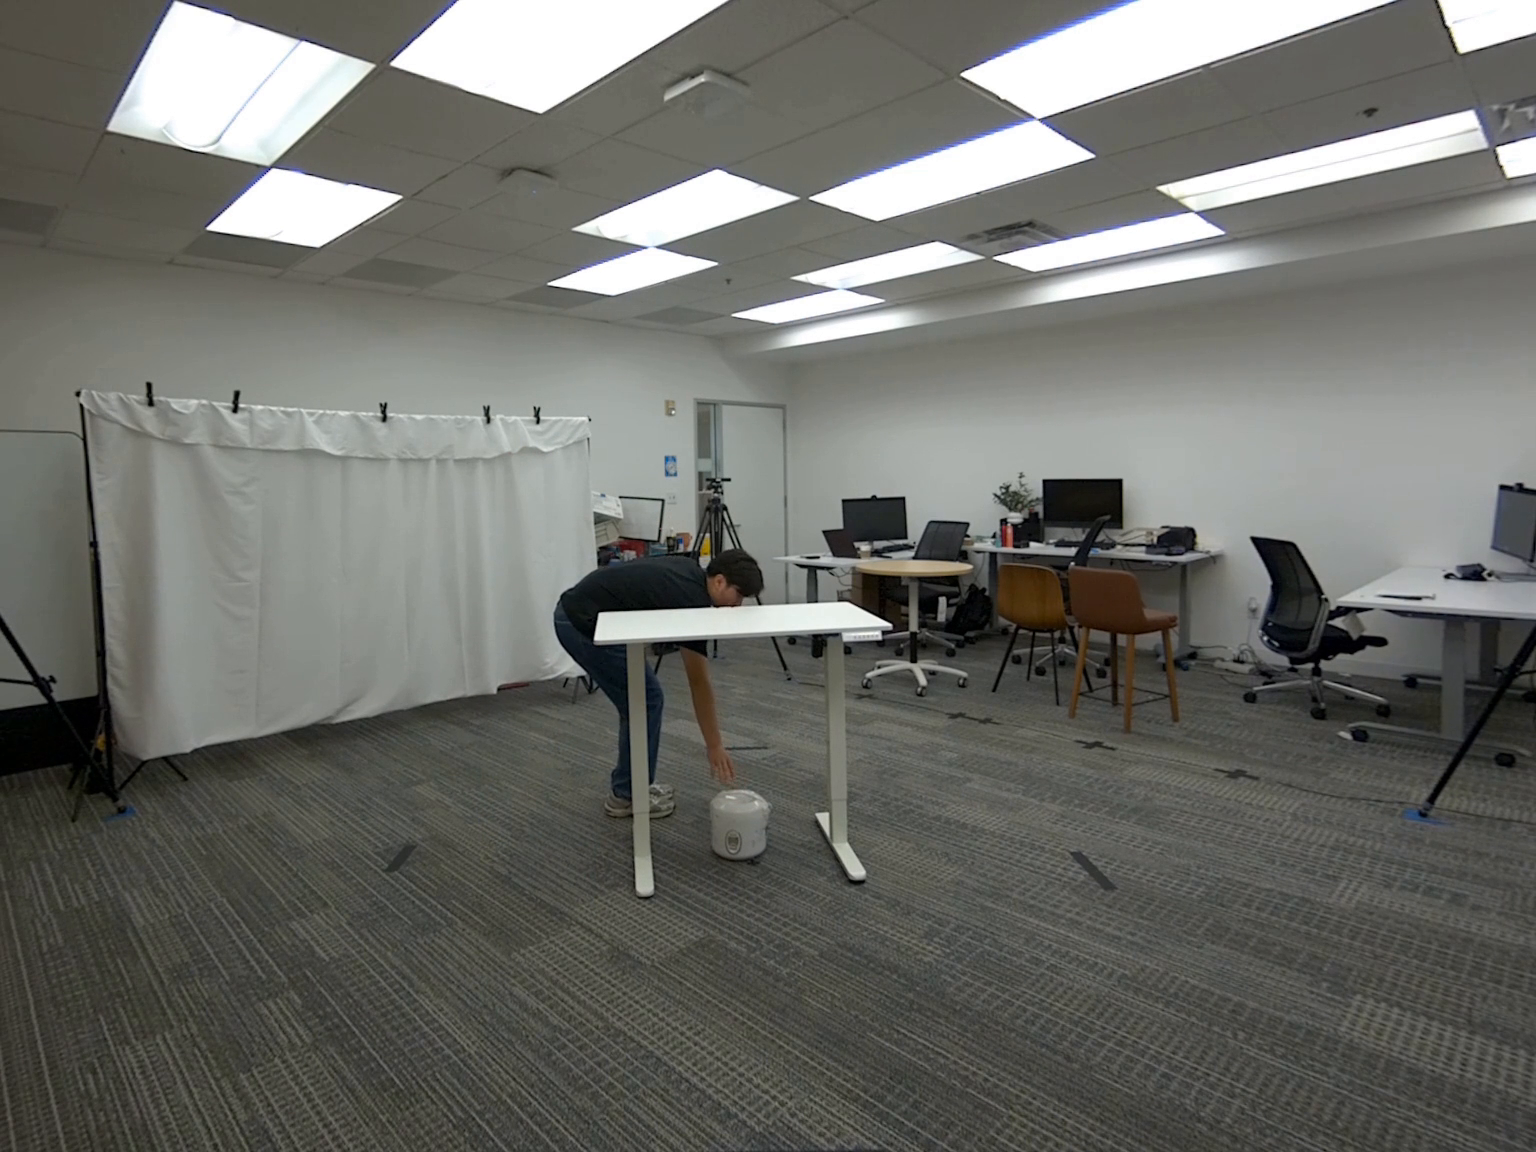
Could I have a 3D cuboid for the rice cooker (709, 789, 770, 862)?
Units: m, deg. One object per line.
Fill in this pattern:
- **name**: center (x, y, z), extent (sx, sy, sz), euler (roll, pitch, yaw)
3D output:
- **rice cooker**: center (-0.103, 0.916, 3.197), extent (0.223, 0.232, 0.215), euler (0, 3, 11)
